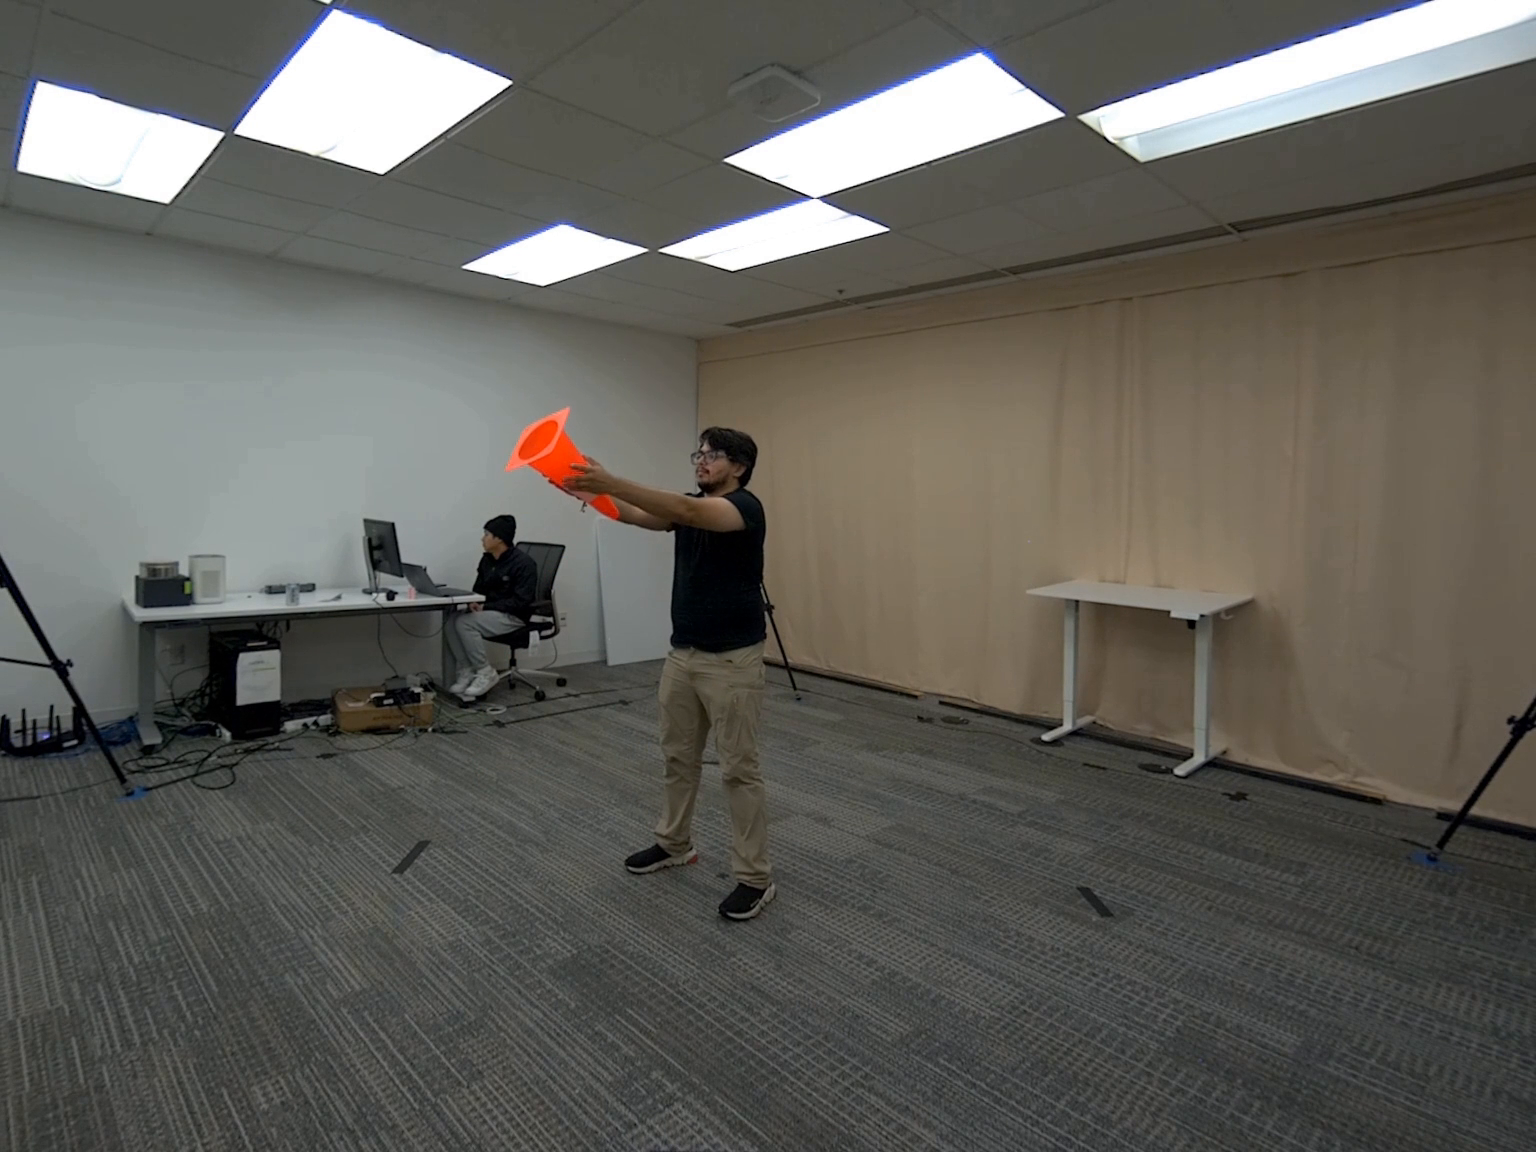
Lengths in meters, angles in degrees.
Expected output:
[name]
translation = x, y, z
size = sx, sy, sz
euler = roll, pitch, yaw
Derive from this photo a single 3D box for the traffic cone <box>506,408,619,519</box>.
[traffic cone]
translation = -0.592, -0.296, 2.602
size = 0.208, 0.207, 0.372
euler = -17, -45, 30
